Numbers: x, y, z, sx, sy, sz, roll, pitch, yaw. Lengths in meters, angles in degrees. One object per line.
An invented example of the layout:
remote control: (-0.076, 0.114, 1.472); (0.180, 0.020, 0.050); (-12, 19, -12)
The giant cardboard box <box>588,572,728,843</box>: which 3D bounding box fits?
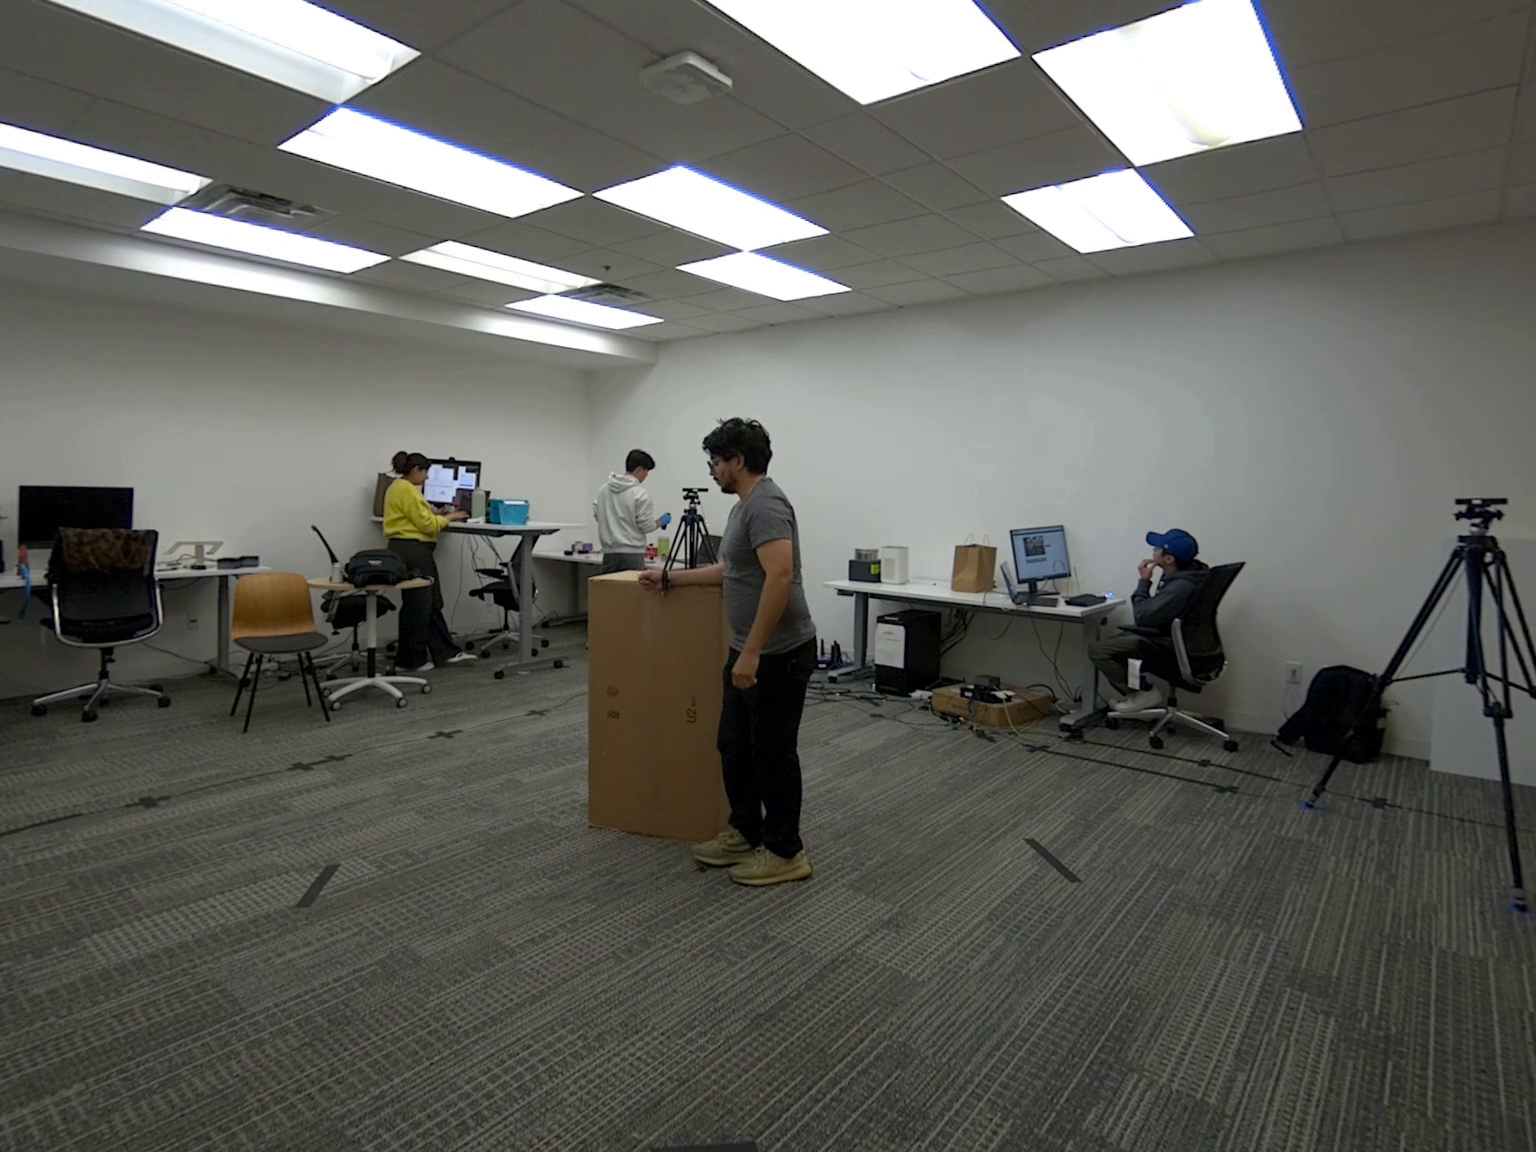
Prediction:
giant cardboard box: (-0.419, 0.511, 3.579); (0.589, 1.023, 0.419); (2, 3, 19)
